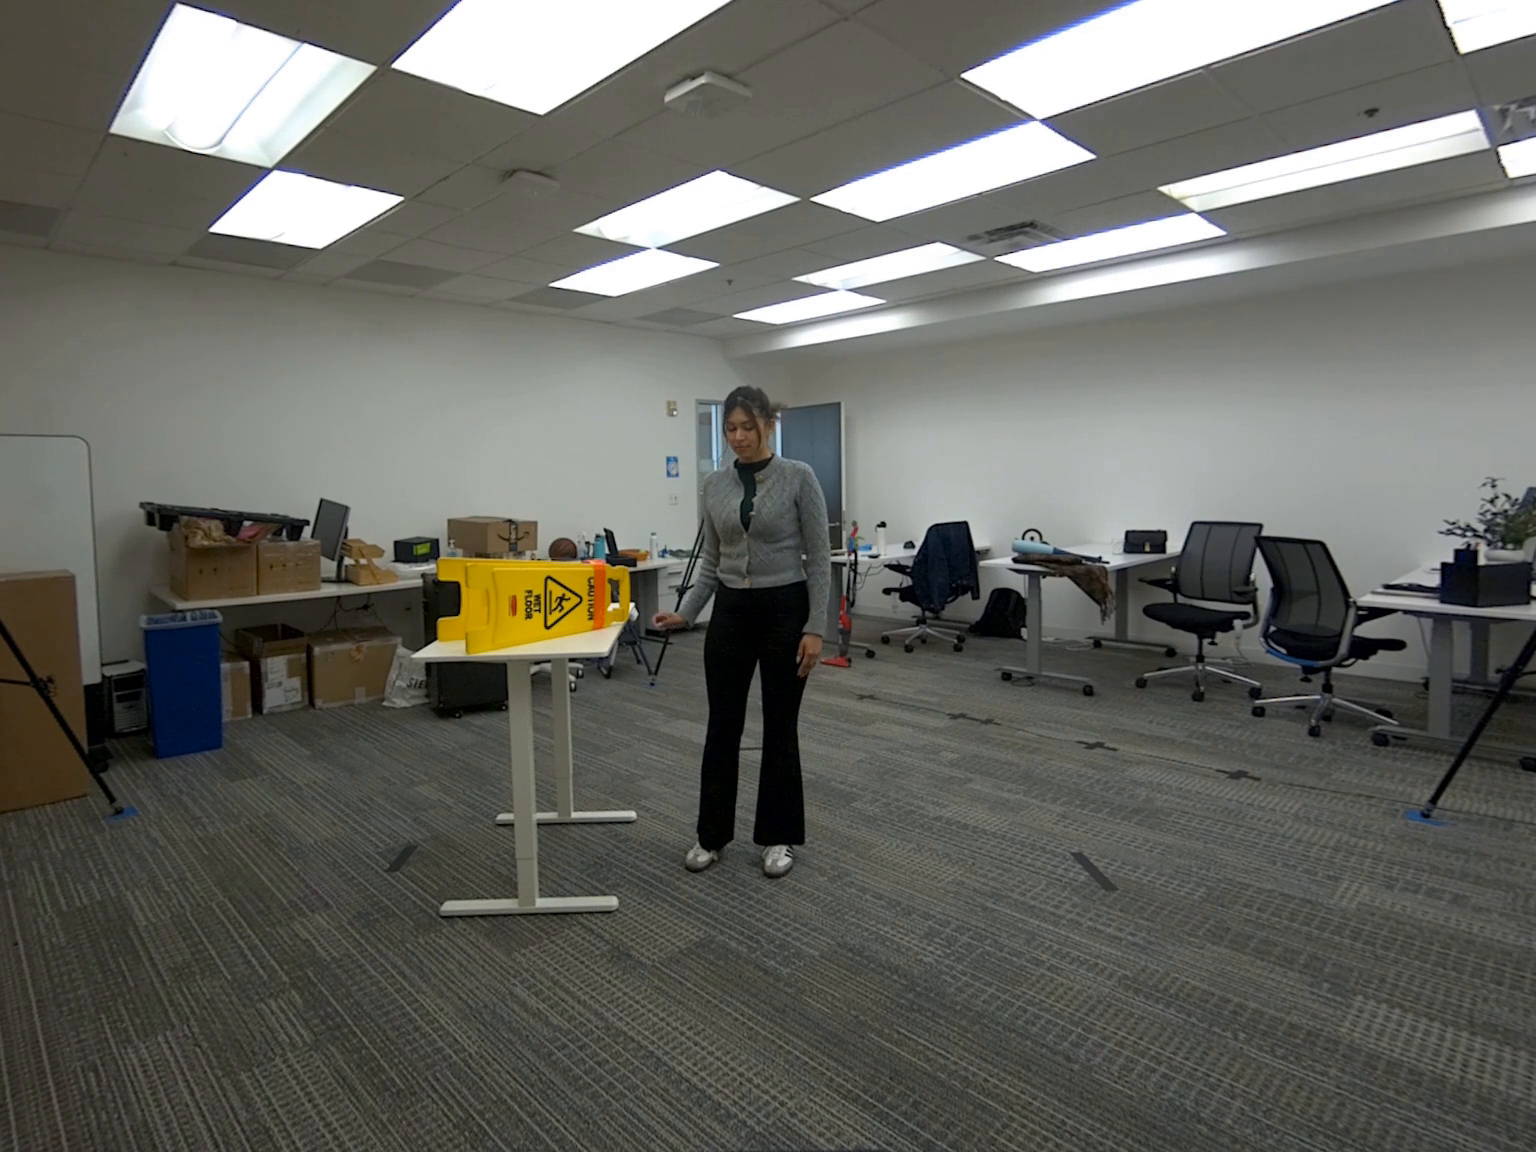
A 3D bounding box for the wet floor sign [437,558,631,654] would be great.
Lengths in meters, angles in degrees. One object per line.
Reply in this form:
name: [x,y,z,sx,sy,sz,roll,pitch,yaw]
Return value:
wet floor sign: [-0.755,0.079,2.903,0.629,0.281,0.298,-3,5,-36]
